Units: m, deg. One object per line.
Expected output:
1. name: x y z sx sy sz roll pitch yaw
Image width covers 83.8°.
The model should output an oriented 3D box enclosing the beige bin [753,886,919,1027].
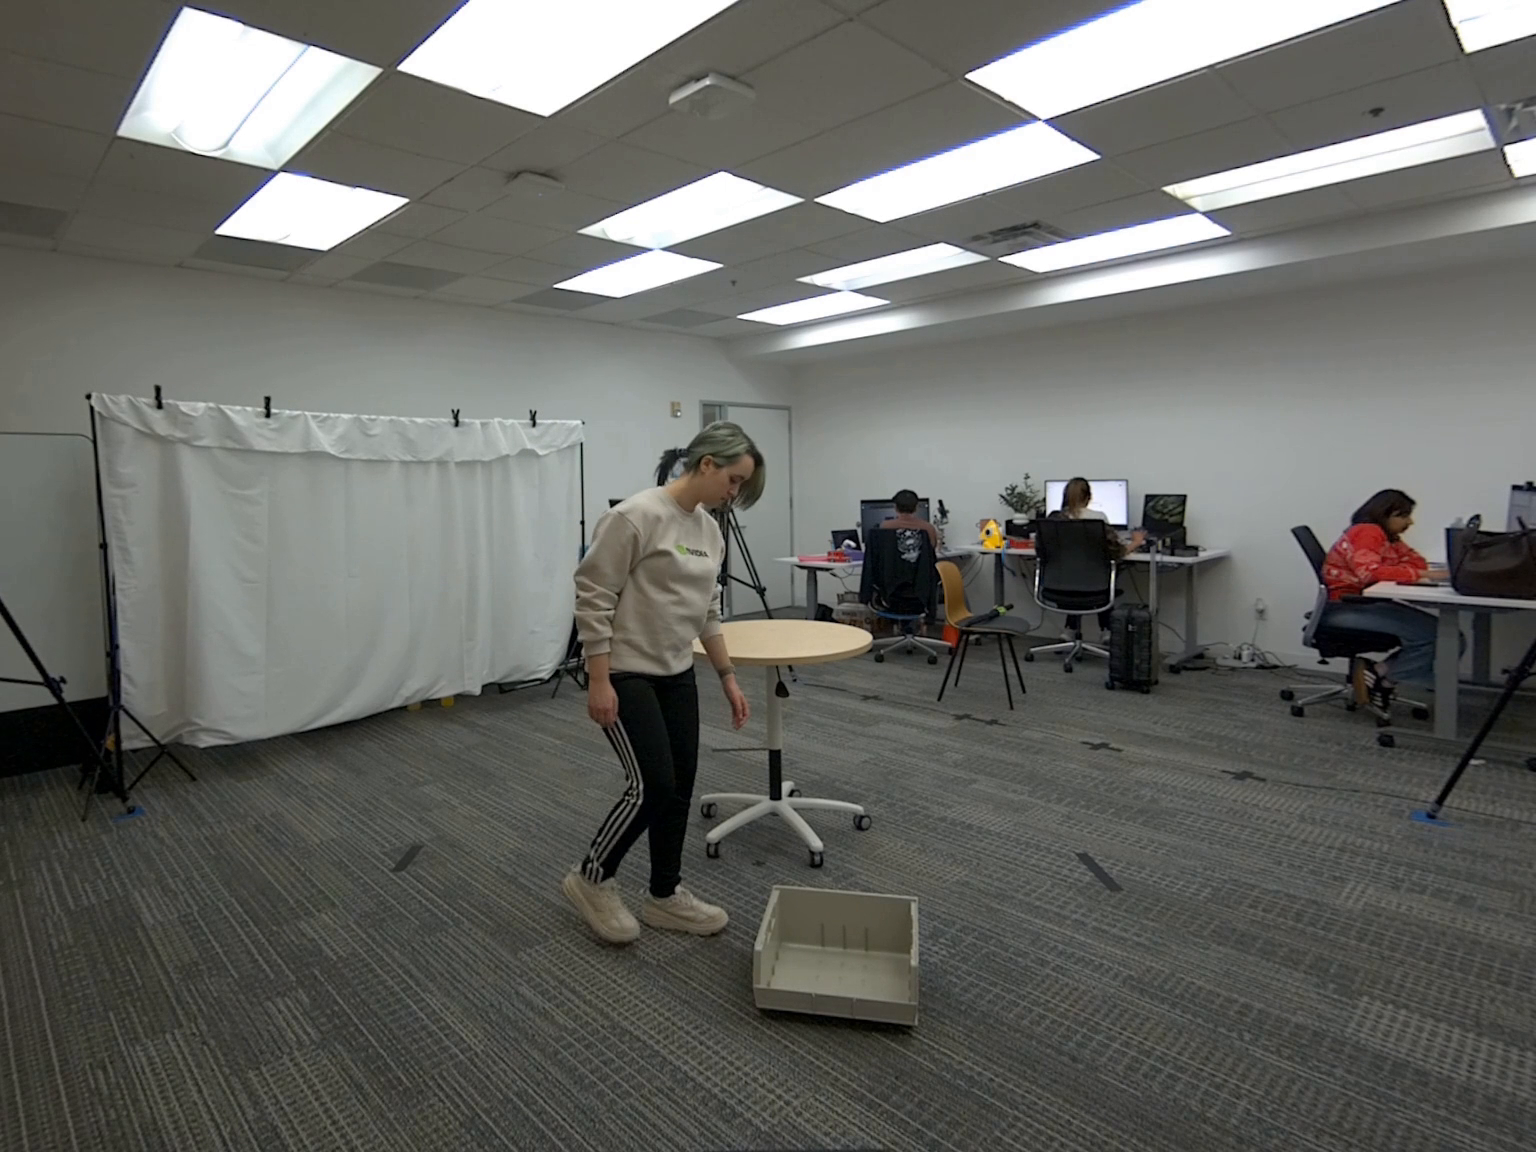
1. beige bin: 0.202 1.040 2.339 0.427 0.188 0.374 0 5 11
